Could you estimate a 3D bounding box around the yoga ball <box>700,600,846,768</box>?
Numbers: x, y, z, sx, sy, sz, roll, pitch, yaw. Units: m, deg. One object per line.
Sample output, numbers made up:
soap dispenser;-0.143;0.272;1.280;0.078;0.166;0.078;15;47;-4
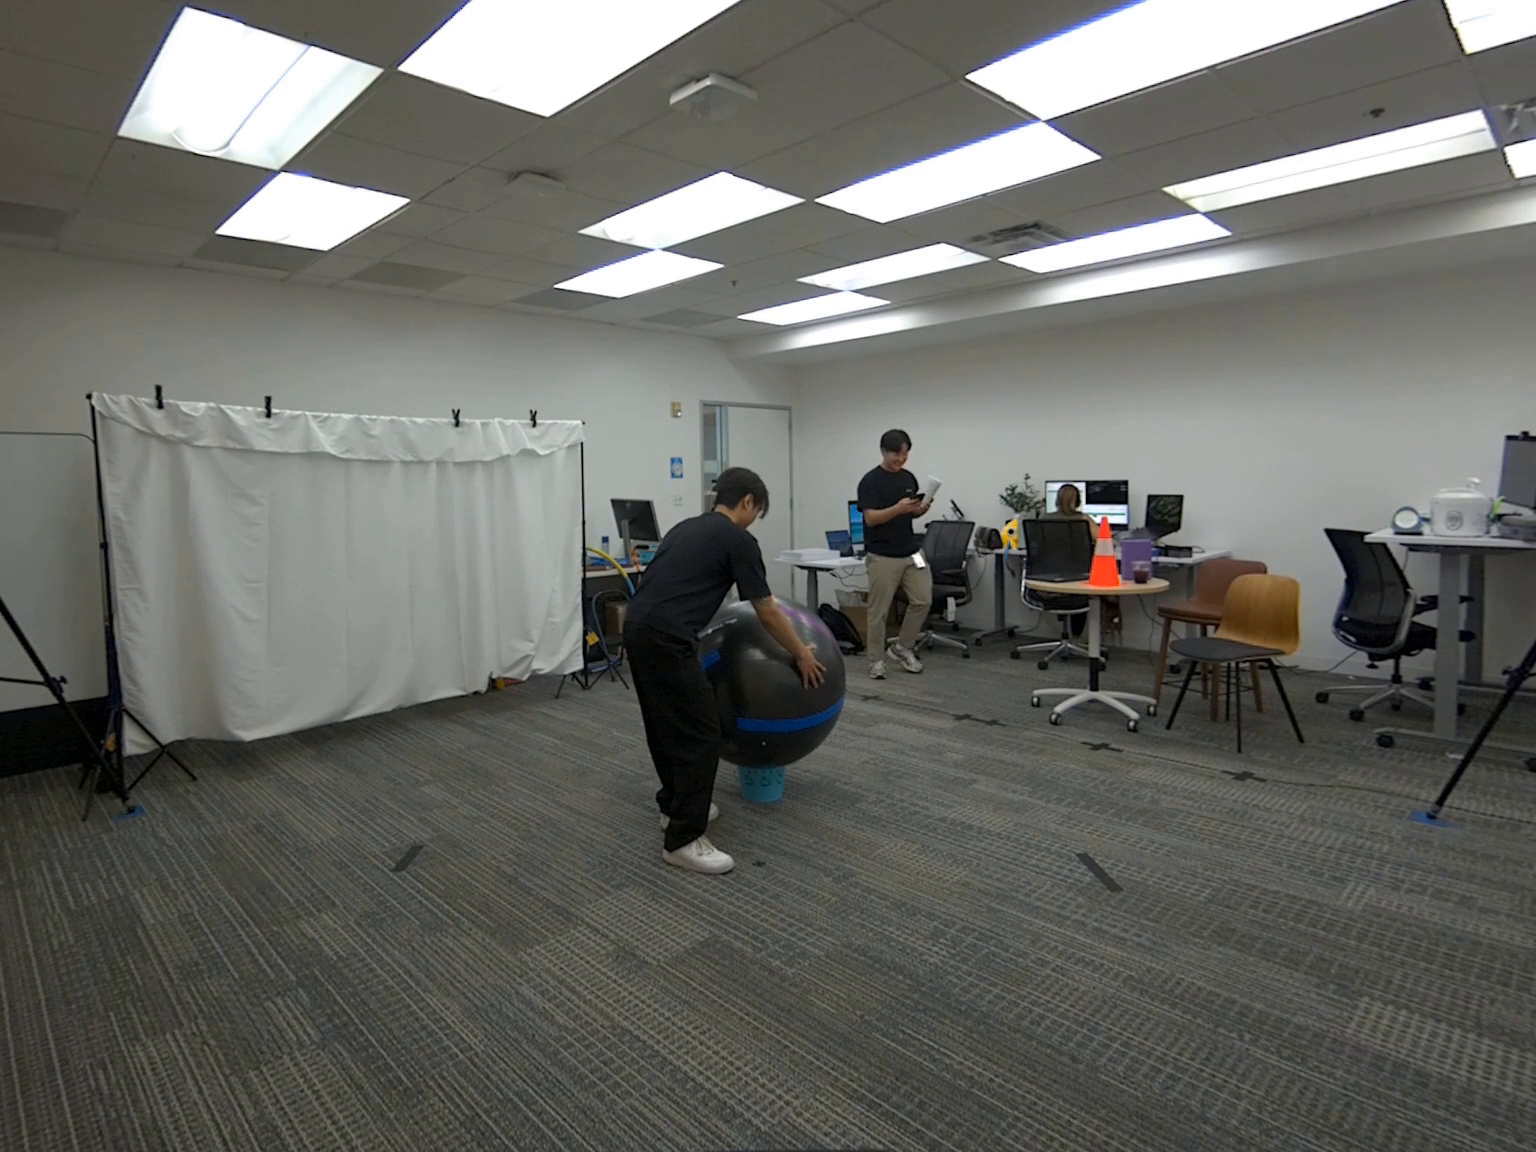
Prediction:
yoga ball;-0.033;0.466;3.784;0.757;0.755;0.762;-1;5;-2
